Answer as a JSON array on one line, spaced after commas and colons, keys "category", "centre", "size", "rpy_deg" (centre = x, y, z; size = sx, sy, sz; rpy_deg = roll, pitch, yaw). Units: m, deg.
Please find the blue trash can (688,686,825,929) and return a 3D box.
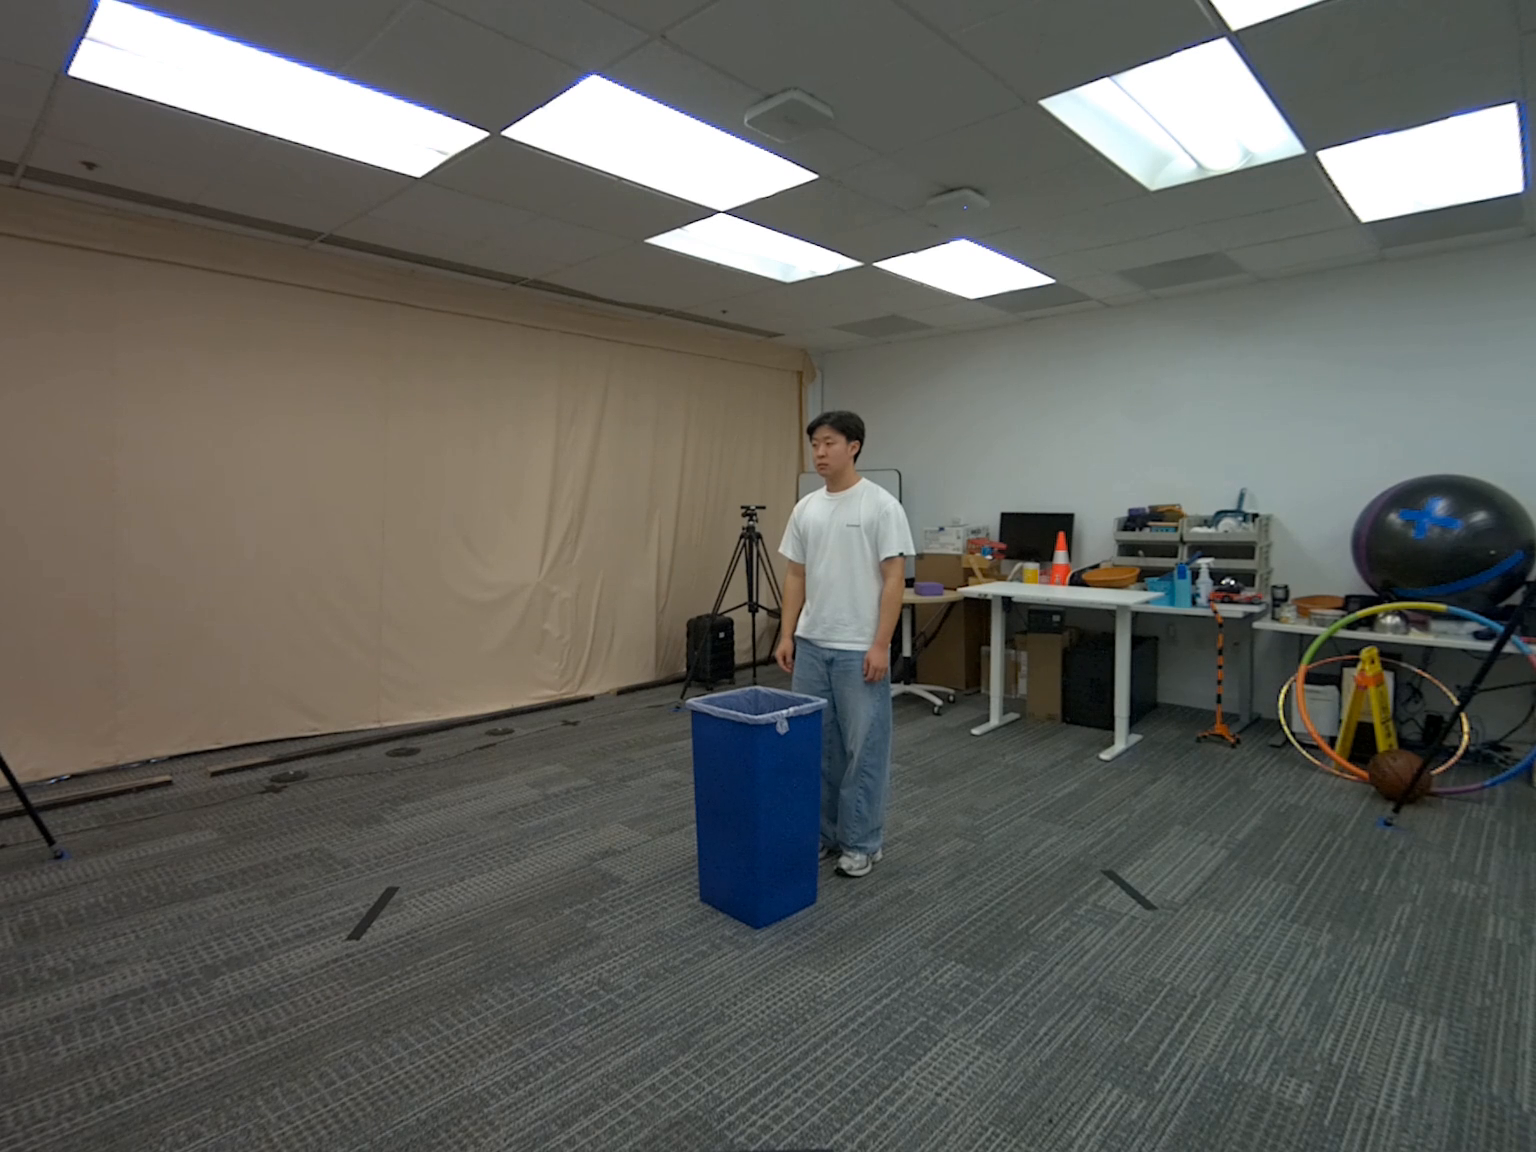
[{"category": "blue trash can", "centre": [-0.043, 0.789, 2.951], "size": [0.386, 0.712, 0.366], "rpy_deg": [3, 4, 44]}]
